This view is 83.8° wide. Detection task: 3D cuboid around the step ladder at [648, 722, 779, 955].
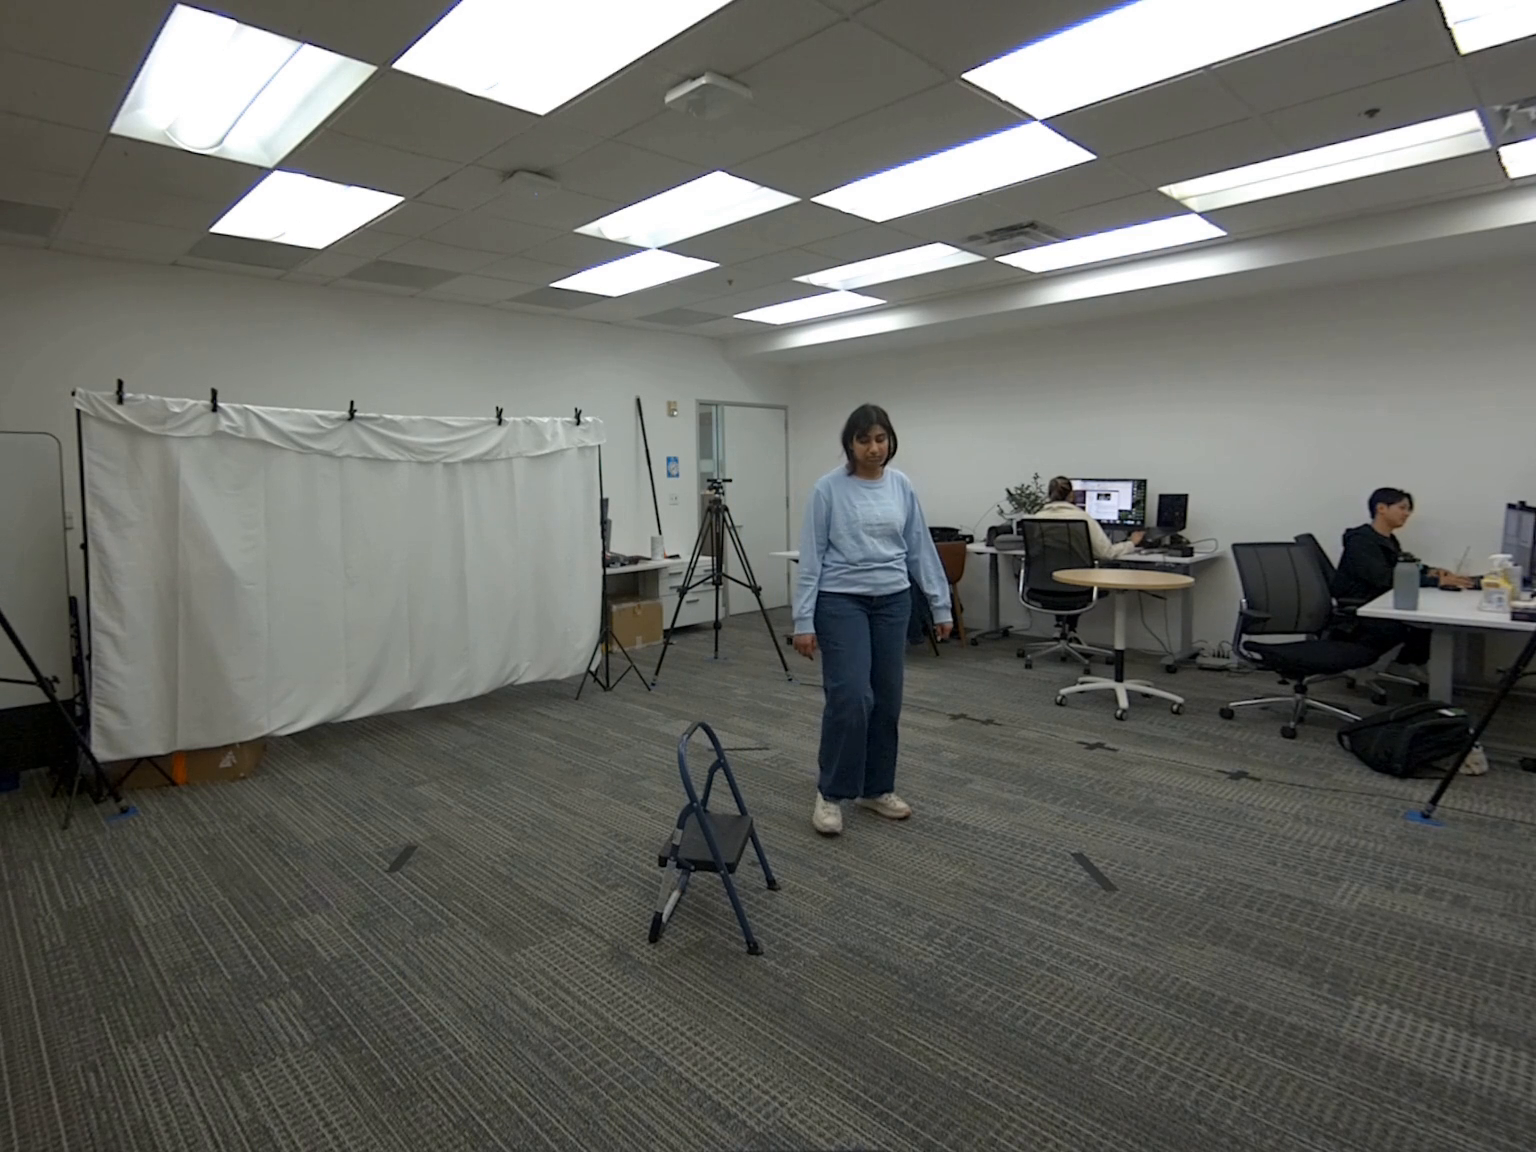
[{"bbox_3d":[-0.166,0.788,2.729,0.353,0.604,0.428,0,5,10],"label":"step ladder"}]
